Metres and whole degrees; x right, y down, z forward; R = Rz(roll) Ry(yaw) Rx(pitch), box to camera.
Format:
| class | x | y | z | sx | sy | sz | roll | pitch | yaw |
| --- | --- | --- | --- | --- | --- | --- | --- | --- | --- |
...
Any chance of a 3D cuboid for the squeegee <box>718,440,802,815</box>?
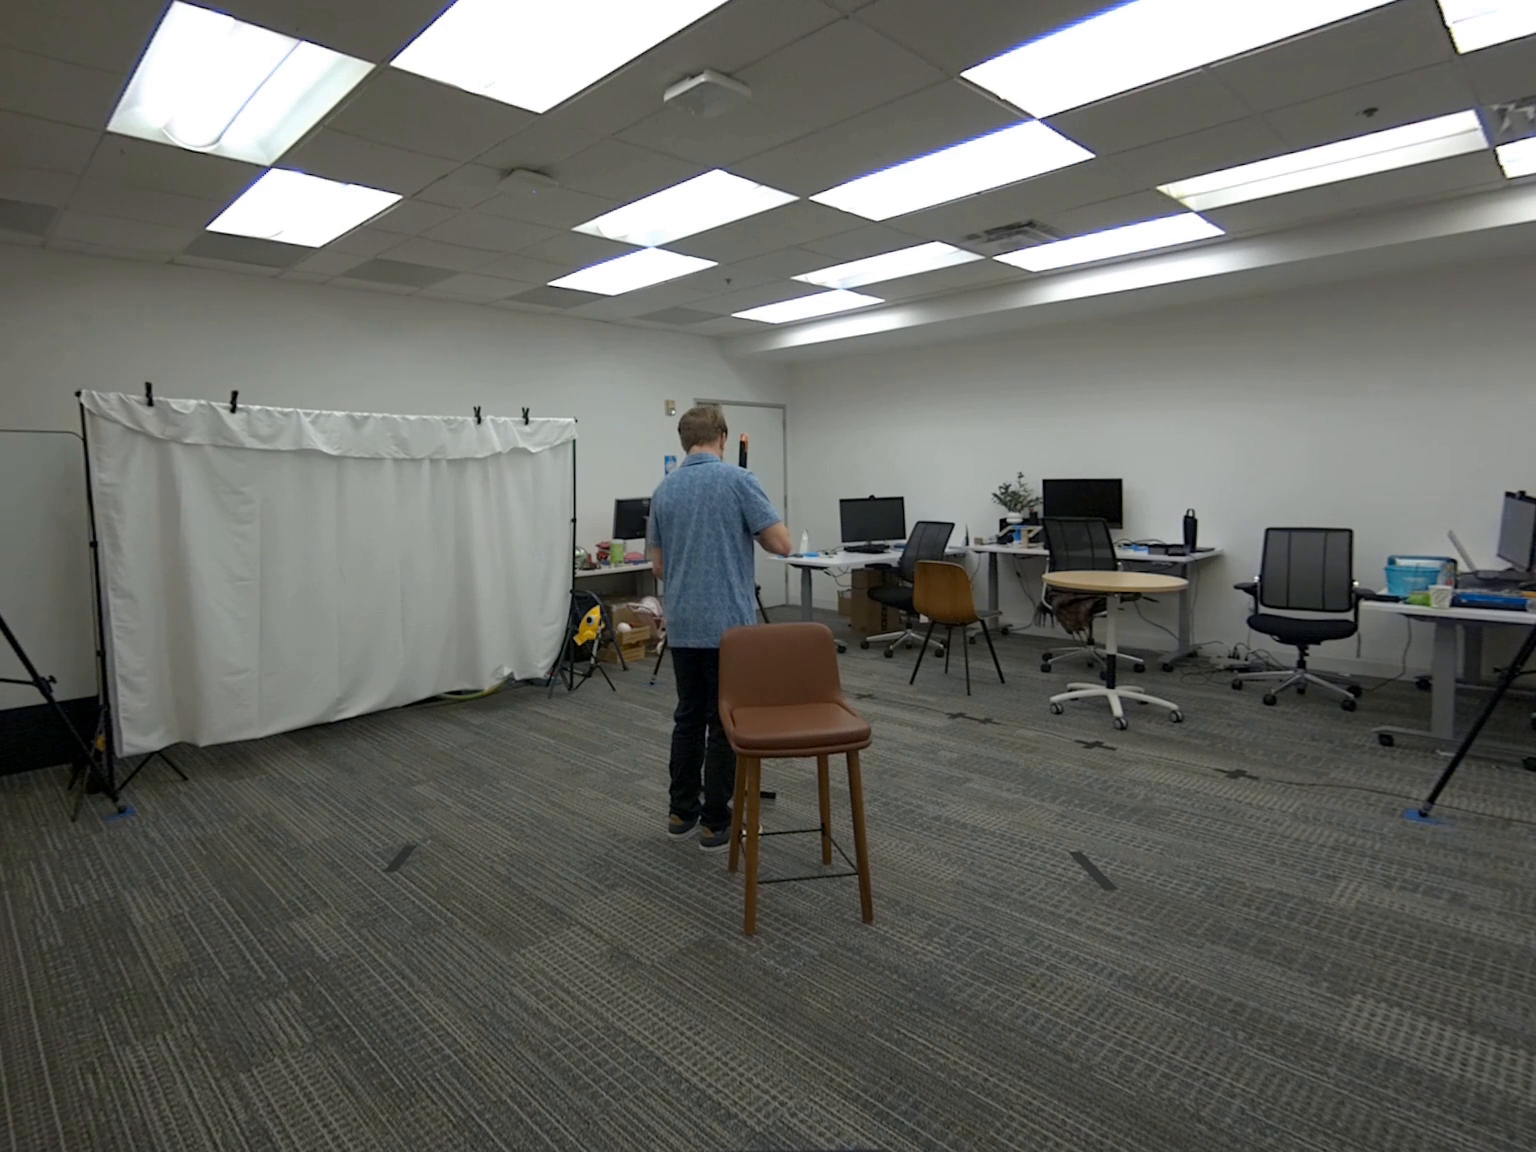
| class | x | y | z | sx | sy | sz | roll | pitch | yaw |
| --- | --- | --- | --- | --- | --- | --- | --- | --- | --- |
| squeegee | -0.134 | 0.215 | 3.532 | 0.441 | 1.527 | 0.053 | 4 | 8 | 8 |
